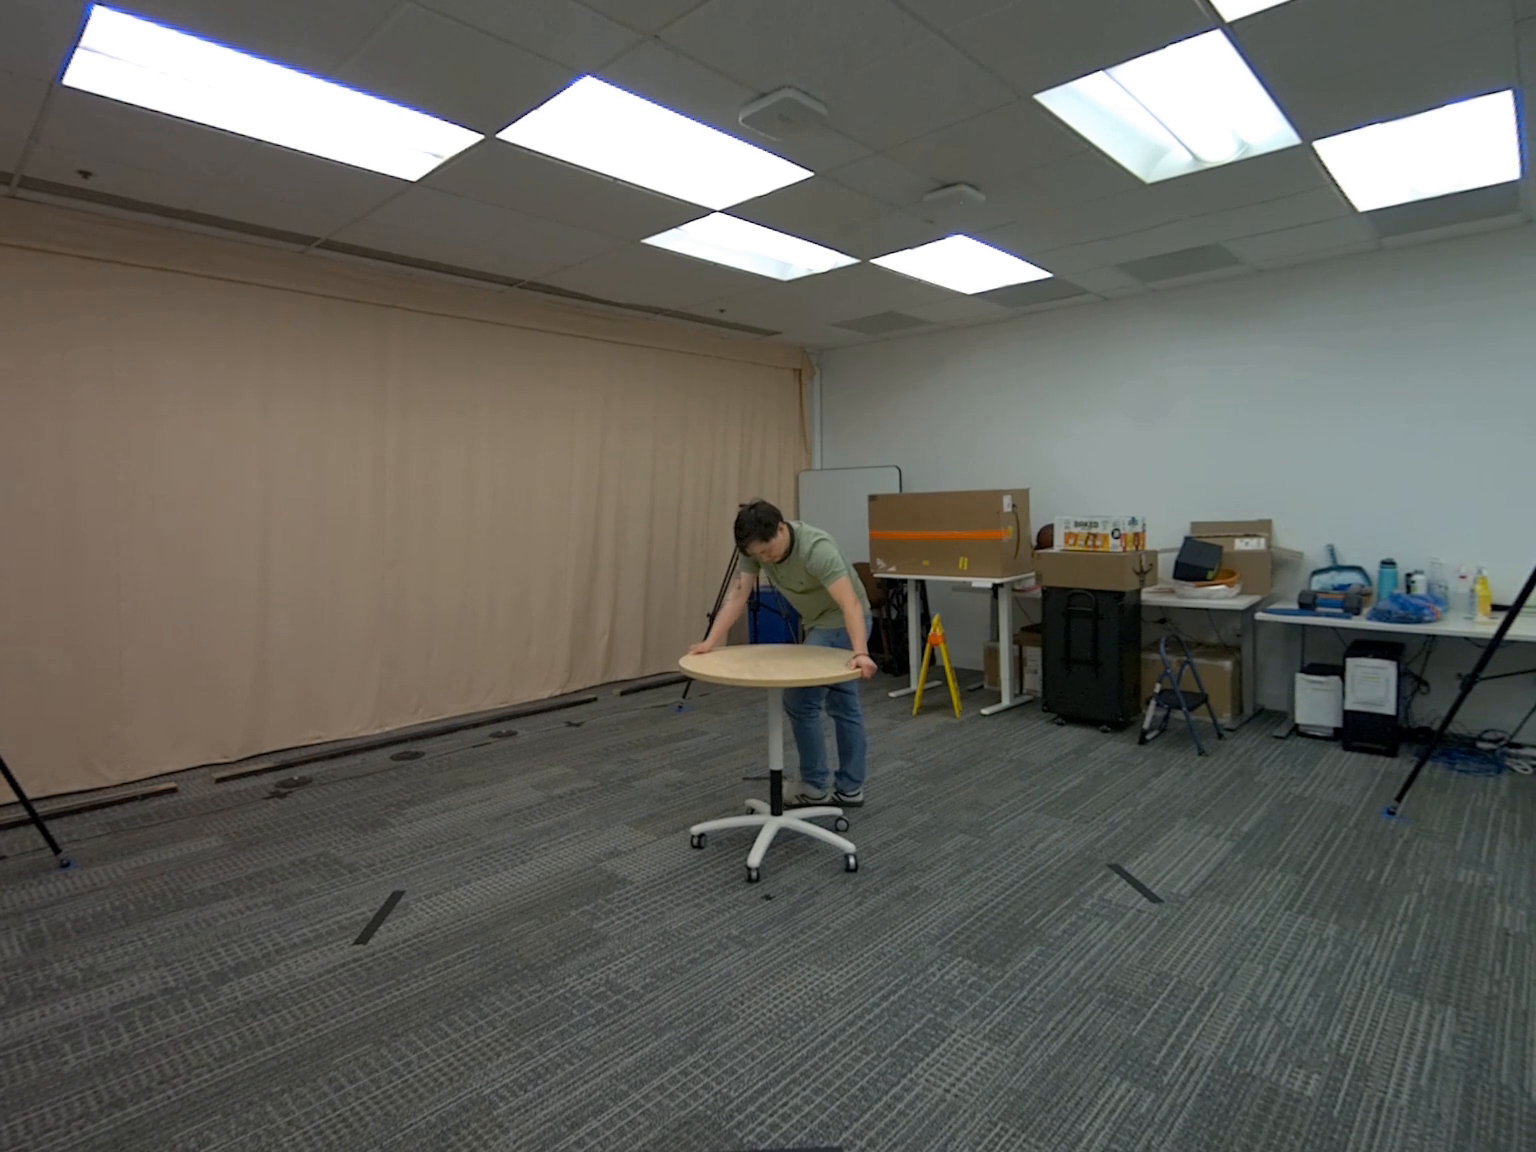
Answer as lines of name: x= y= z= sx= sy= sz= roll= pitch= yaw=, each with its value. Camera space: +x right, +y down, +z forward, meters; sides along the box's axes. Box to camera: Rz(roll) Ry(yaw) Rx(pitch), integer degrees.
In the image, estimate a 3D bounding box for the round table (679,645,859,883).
round table: x=0.034 y=0.724 z=3.388 sx=0.763 sy=0.792 sz=0.766 roll=-1 pitch=3 yaw=-2
